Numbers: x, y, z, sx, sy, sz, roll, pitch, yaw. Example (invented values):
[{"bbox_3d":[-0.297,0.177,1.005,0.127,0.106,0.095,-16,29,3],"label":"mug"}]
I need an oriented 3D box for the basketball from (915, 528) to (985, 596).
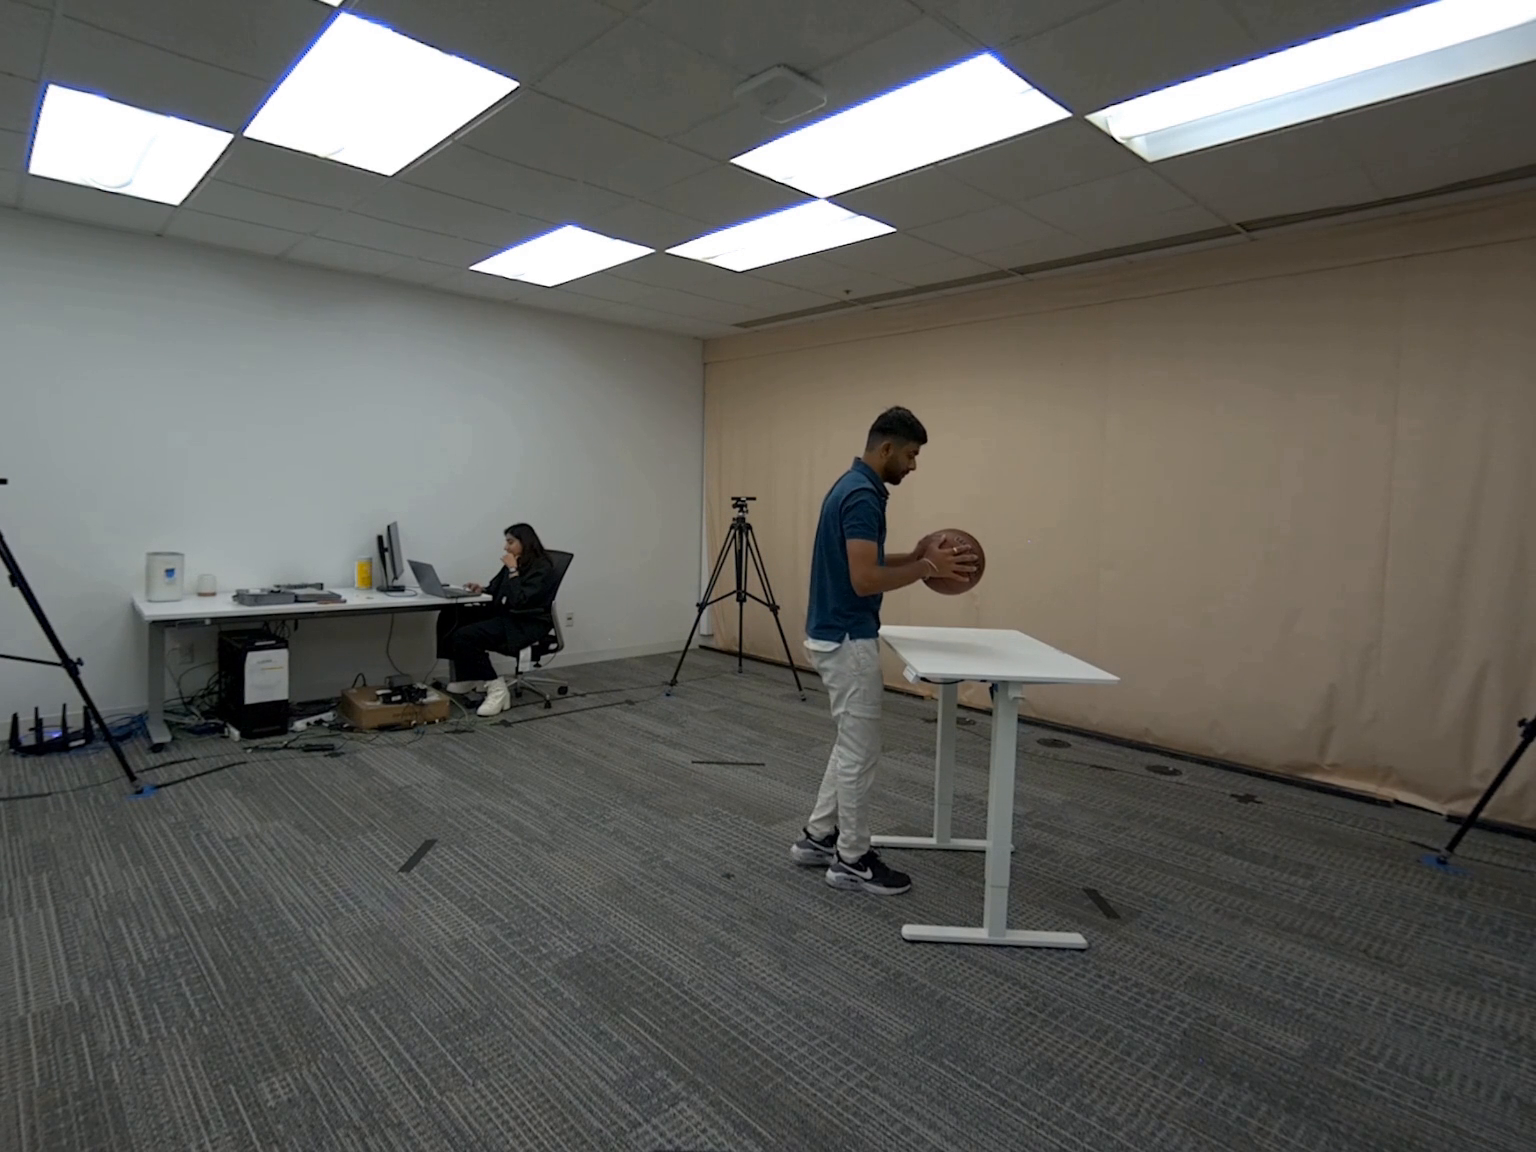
[{"bbox_3d":[0.649,-0.046,3.020,0.236,0.235,0.237,1,4,-1],"label":"basketball"}]
